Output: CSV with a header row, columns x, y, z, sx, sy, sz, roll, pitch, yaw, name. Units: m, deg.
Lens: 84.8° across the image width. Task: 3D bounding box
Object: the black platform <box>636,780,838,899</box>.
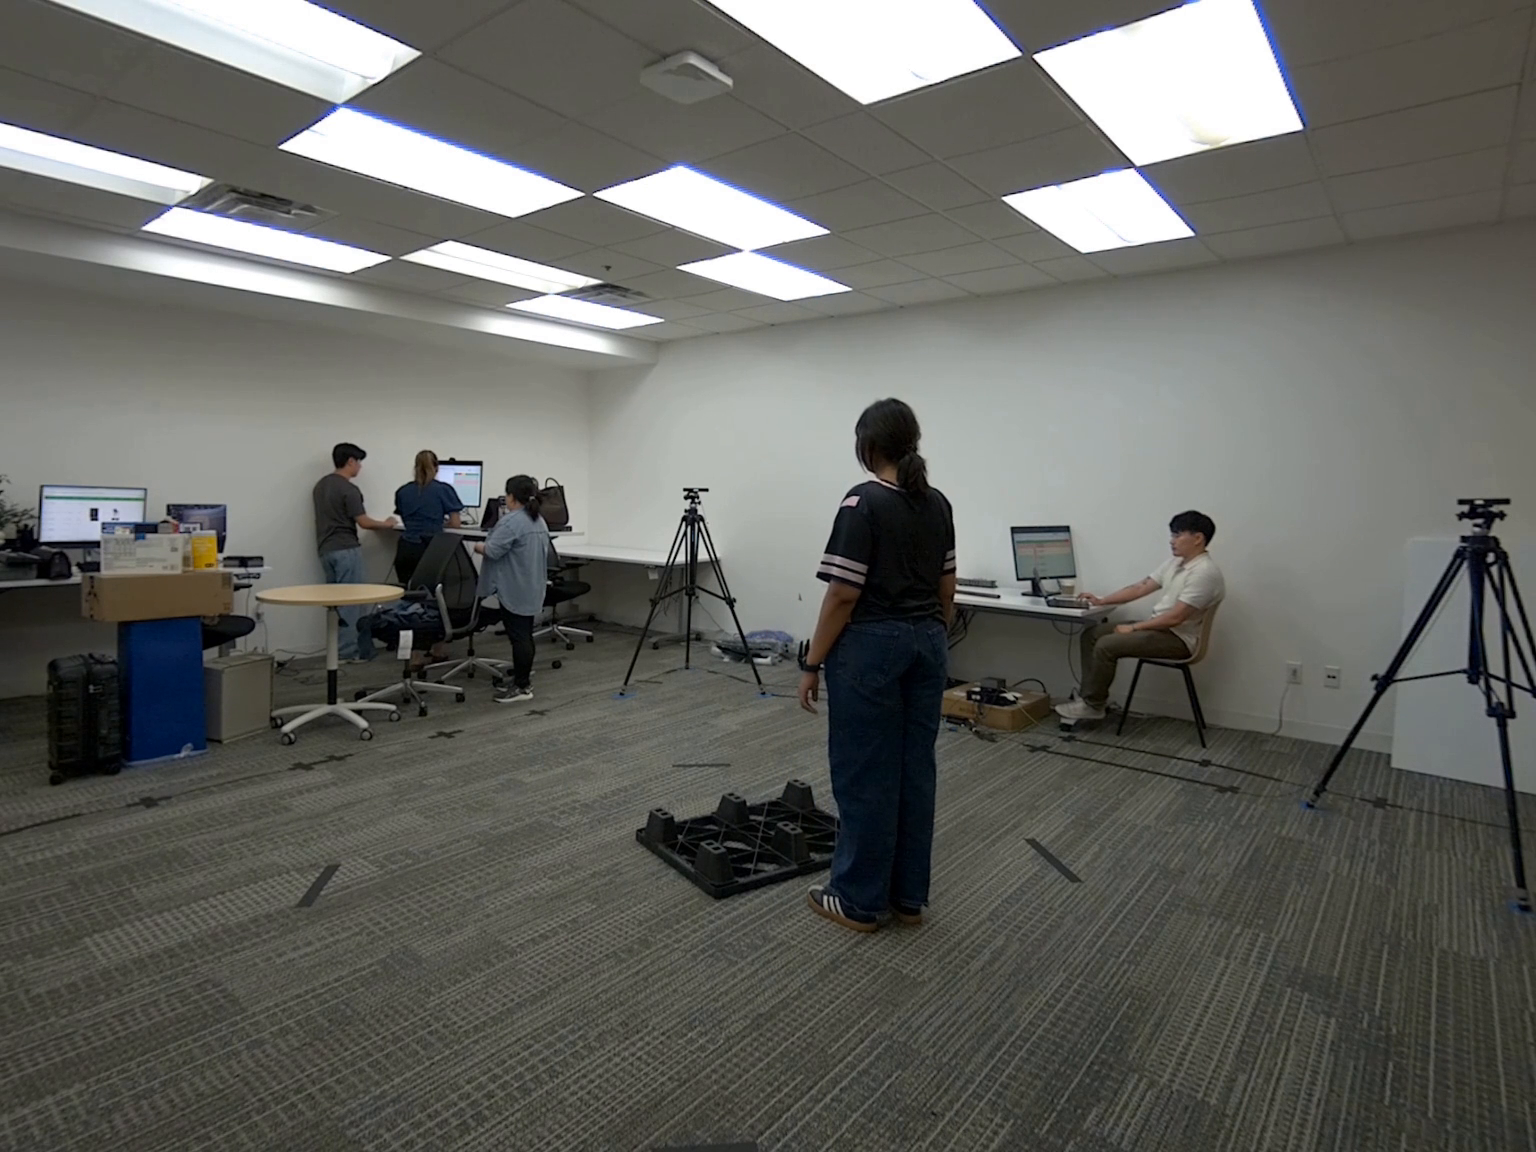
x,y,z,sx,sy,sz,roll,pitch,yaw,name
-0.043,0.985,3.324,0.782,0.143,0.625,-3,6,-35,black platform
